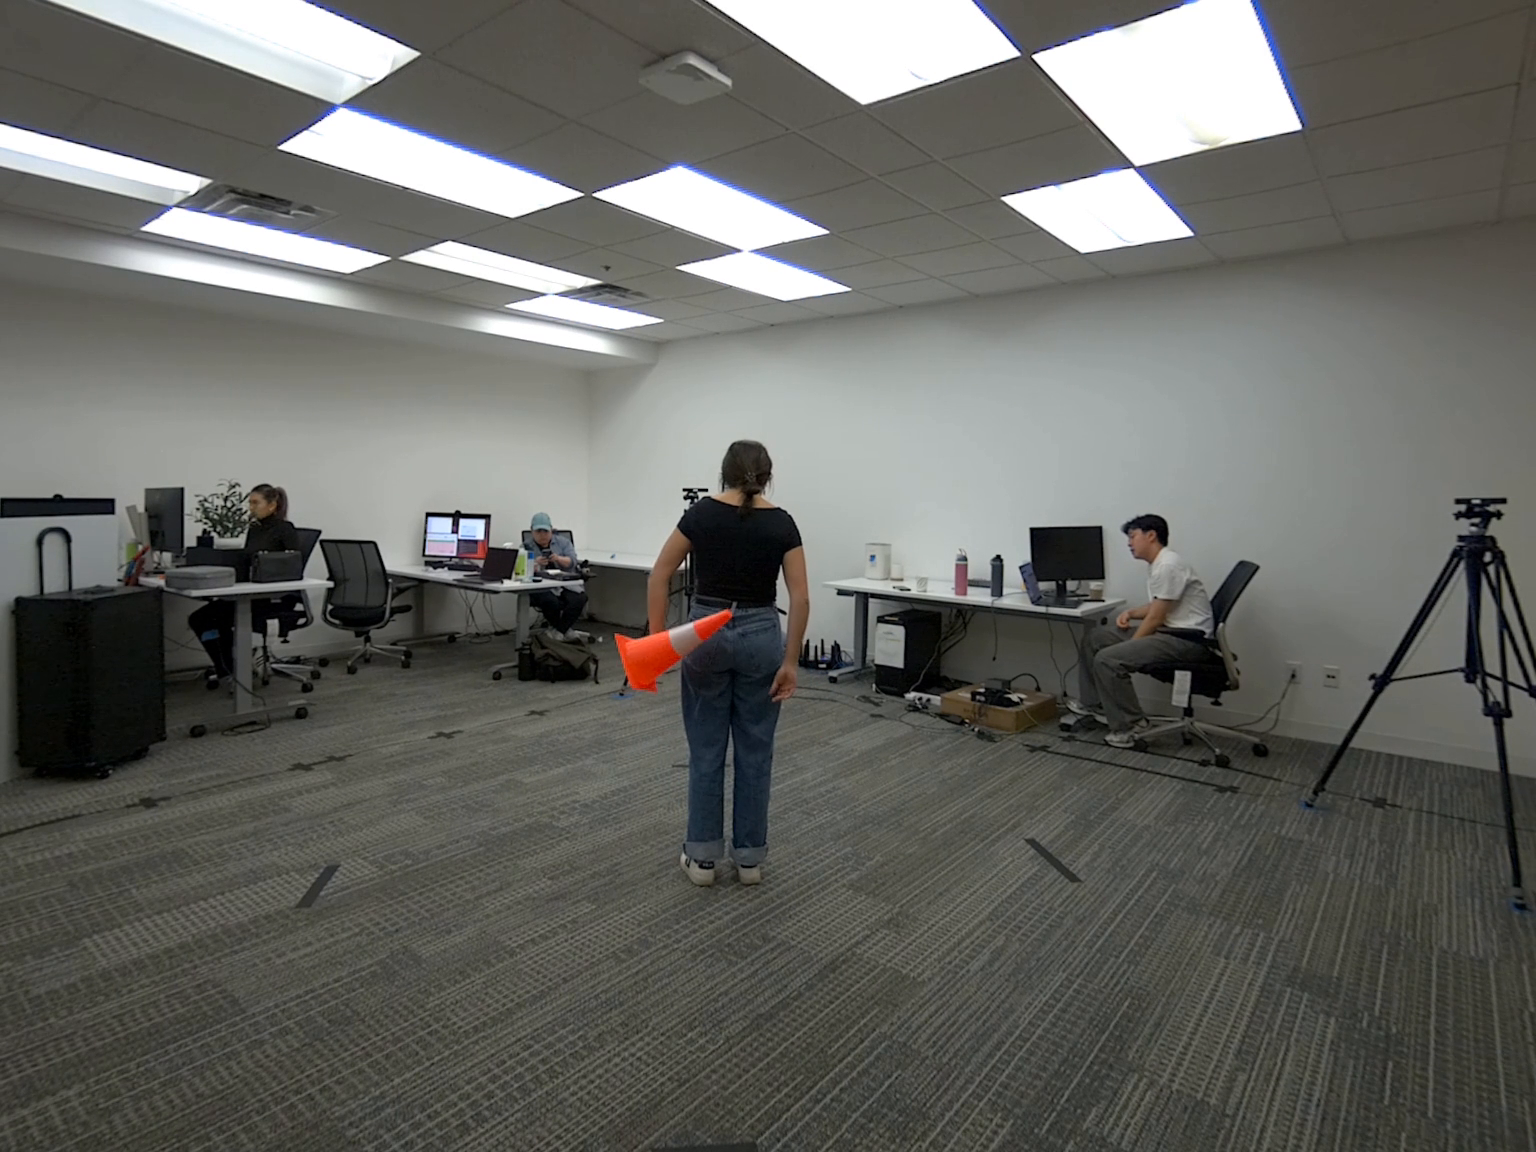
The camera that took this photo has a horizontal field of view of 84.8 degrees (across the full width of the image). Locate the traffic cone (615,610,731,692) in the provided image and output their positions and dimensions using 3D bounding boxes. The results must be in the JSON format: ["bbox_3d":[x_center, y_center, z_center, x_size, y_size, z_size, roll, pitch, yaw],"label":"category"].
[{"bbox_3d":[-0.291,0.203,2.883,0.385,0.212,0.195,-32,-30,9],"label":"traffic cone"}]
